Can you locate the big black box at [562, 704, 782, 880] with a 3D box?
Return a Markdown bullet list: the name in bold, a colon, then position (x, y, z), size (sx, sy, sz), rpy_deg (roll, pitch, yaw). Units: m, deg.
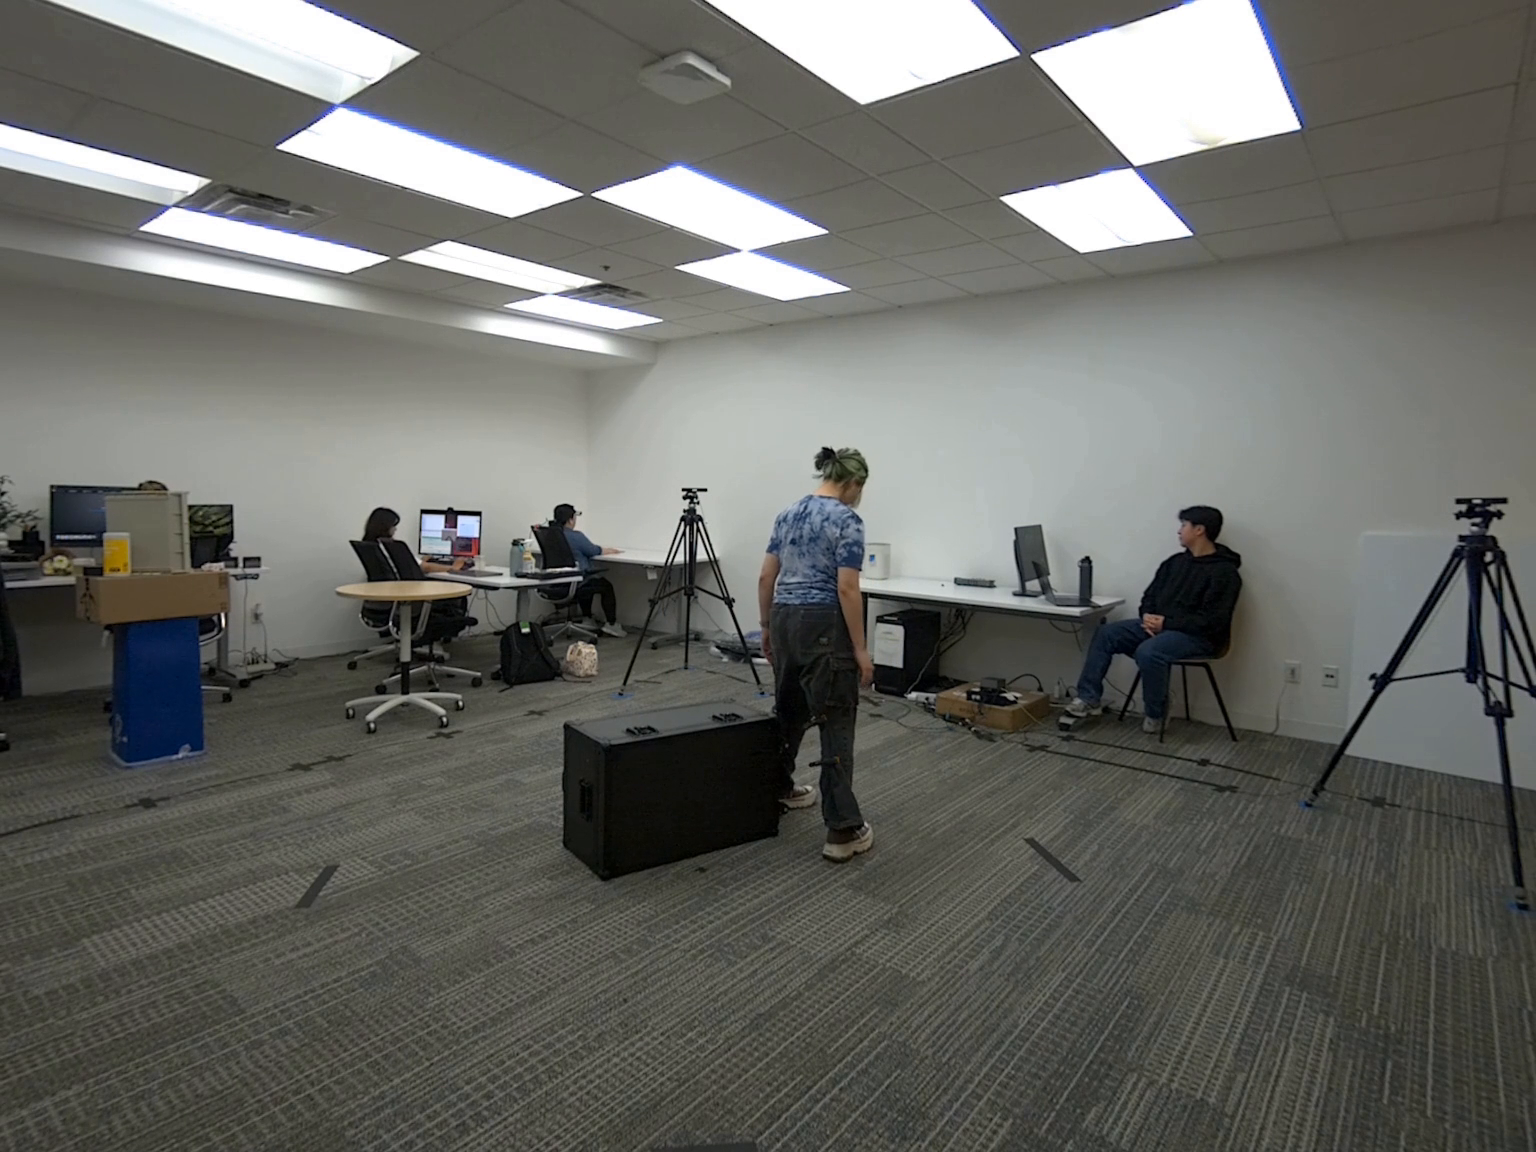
- **big black box**: position (-0.366, 0.799, 3.370), size (0.837, 0.520, 0.409), rpy_deg (-2, 4, -34)
